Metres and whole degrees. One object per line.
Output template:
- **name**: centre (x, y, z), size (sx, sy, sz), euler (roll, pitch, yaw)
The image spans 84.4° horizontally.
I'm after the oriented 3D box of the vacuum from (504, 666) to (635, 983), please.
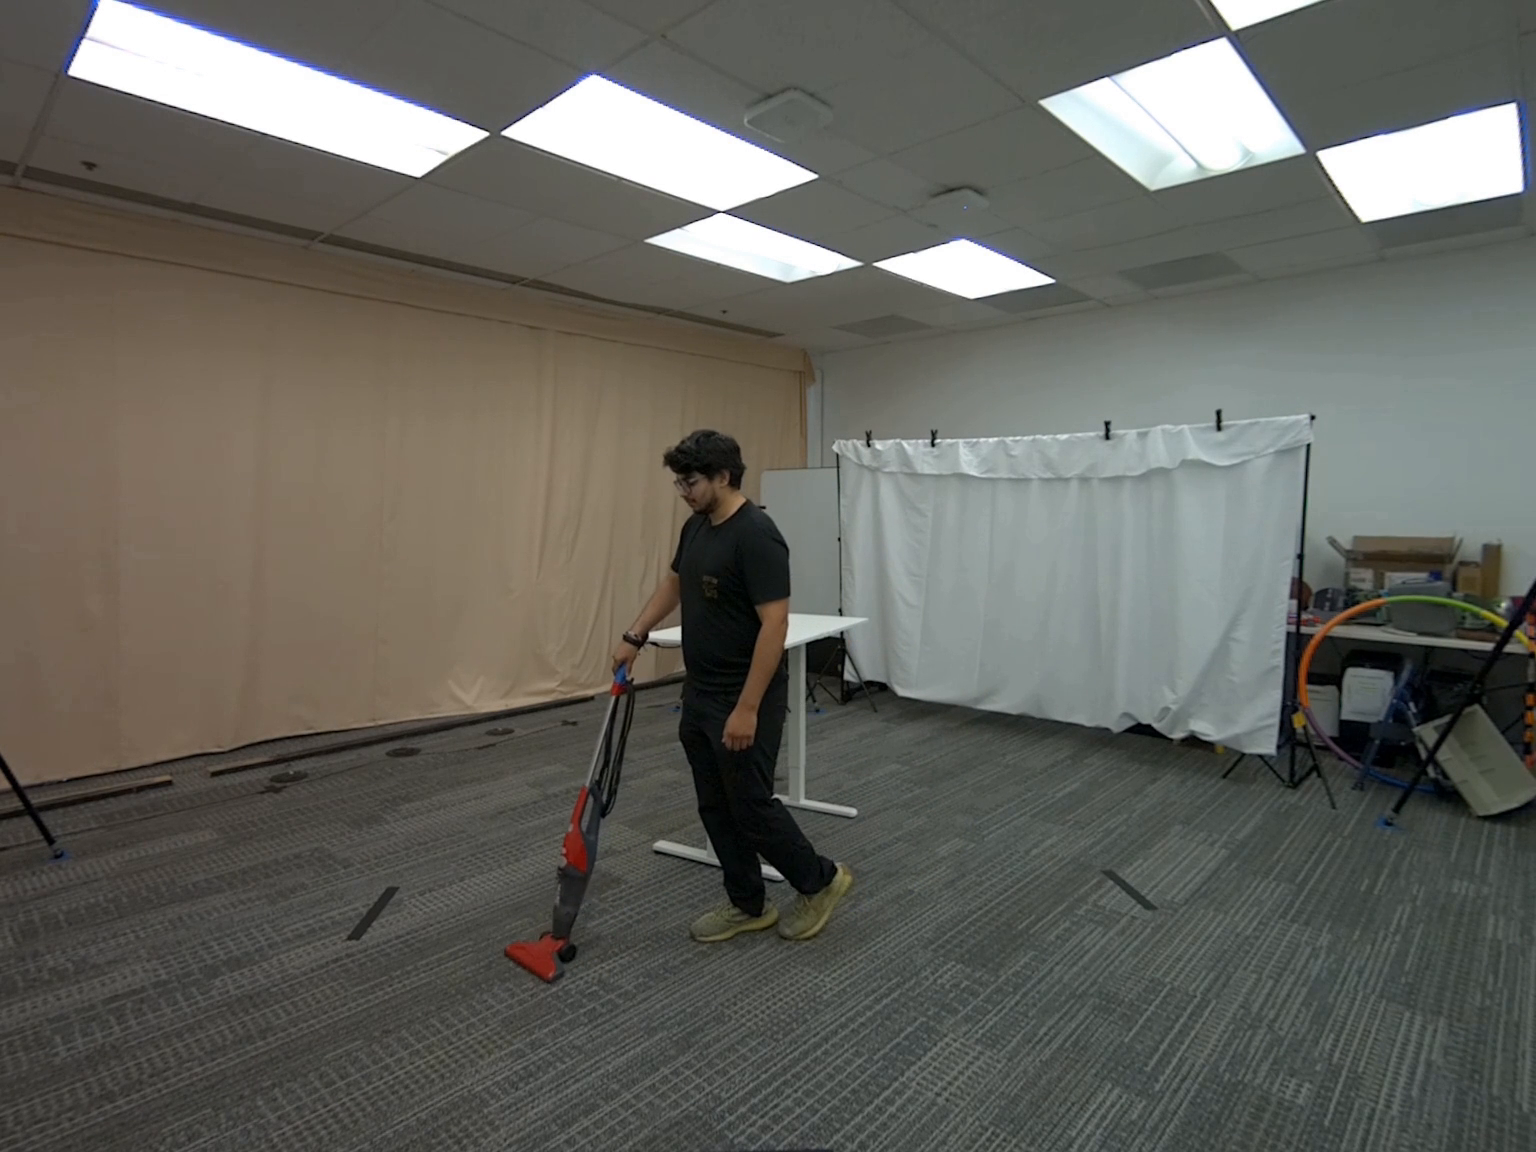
- **vacuum**: centre (-0.558, 0.697, 2.711), size (0.261, 1.054, 0.139), euler (0, -21, 44)
